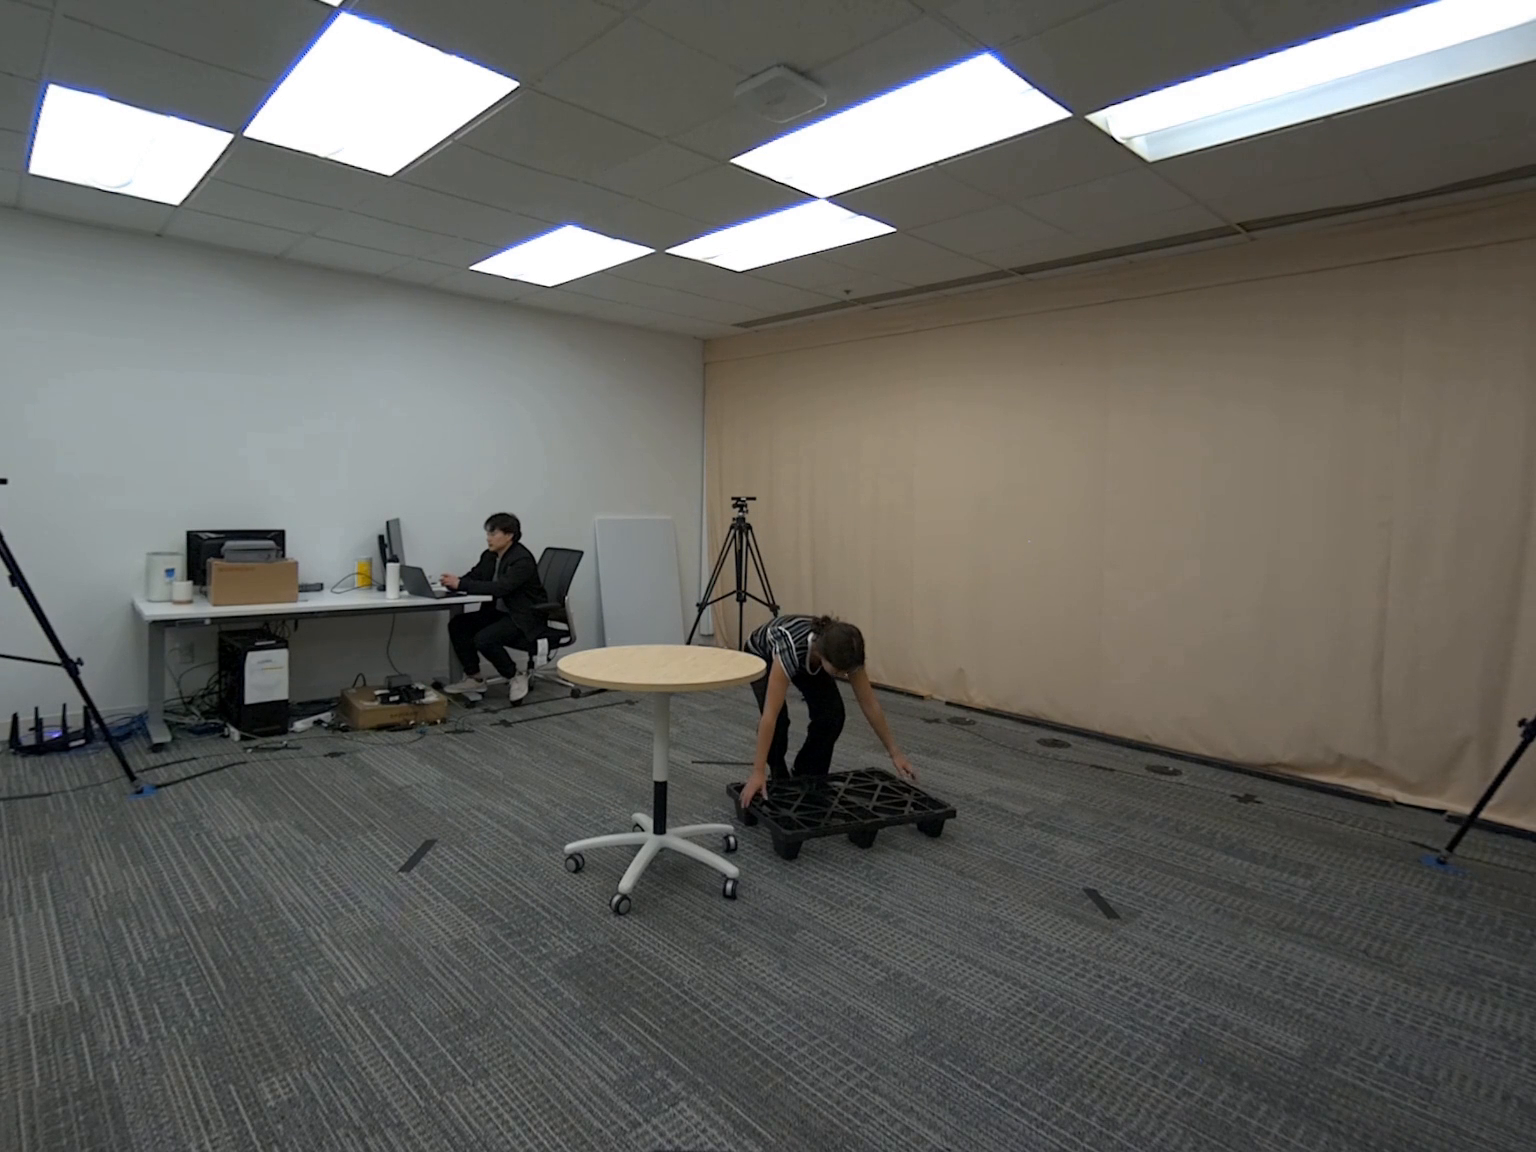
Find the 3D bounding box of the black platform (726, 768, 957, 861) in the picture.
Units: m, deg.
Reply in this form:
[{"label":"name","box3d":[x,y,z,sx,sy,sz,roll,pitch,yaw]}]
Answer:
[{"label":"black platform","box3d":[0.289,1.008,3.596,0.792,0.143,0.617,-1,6,-24]}]
